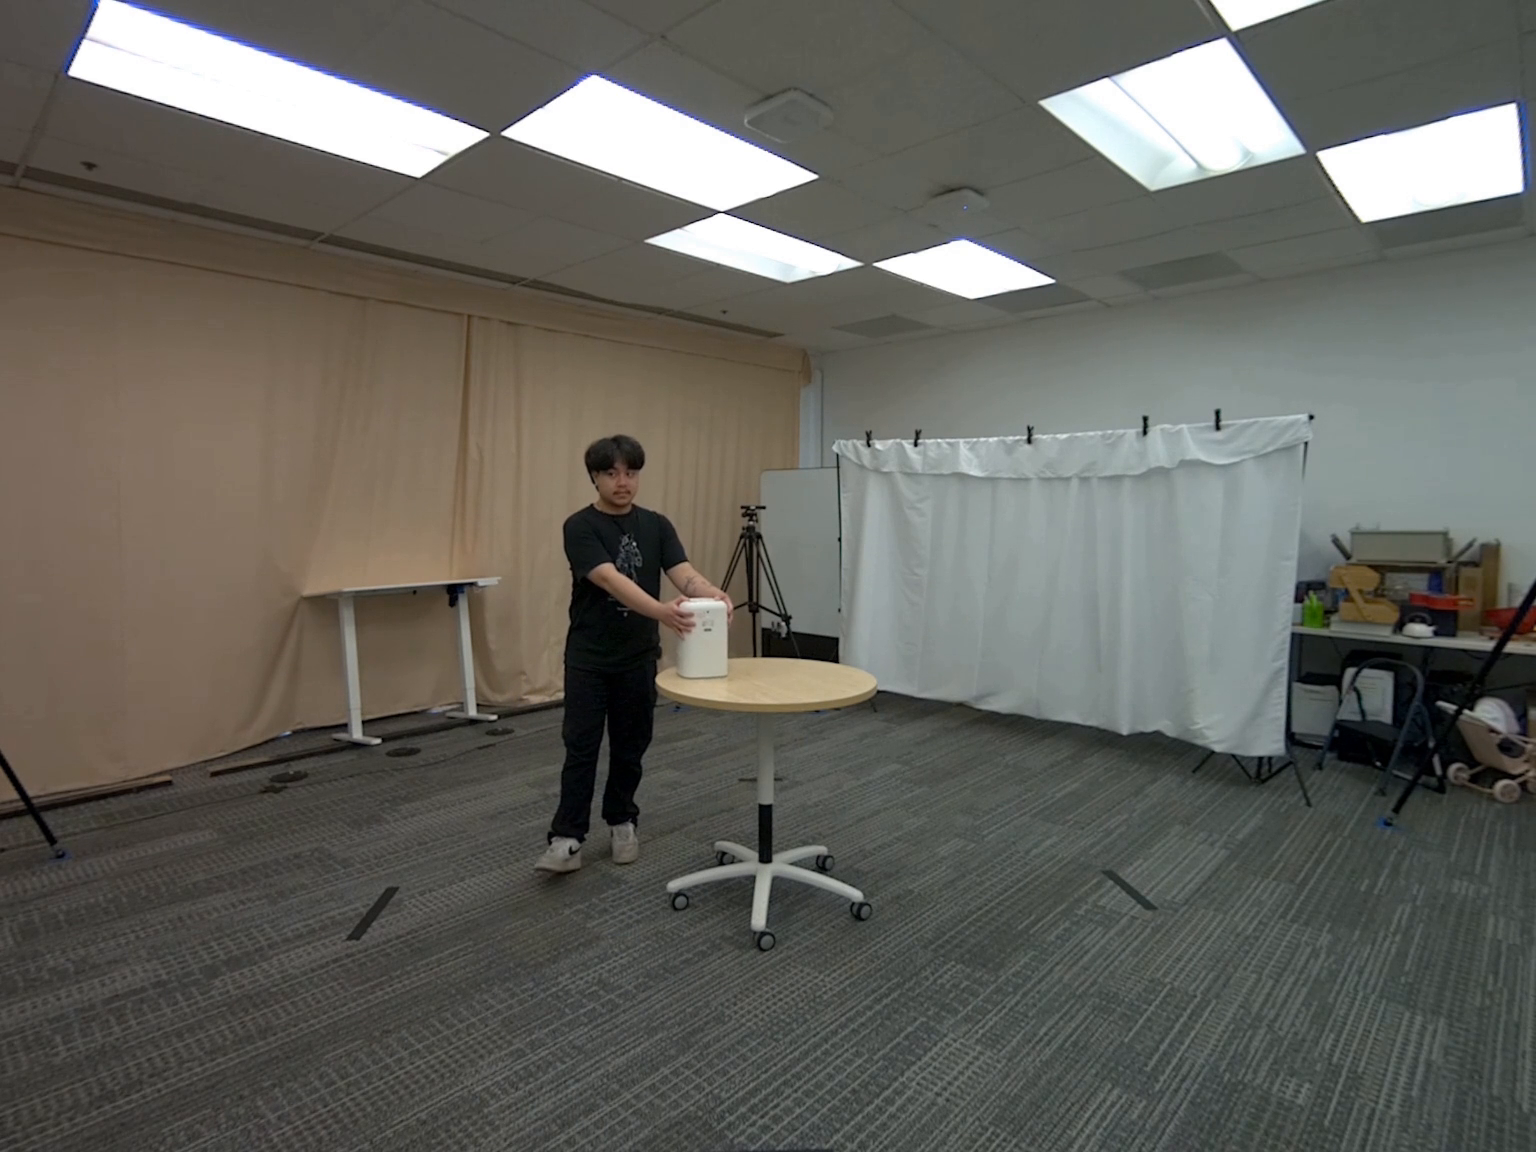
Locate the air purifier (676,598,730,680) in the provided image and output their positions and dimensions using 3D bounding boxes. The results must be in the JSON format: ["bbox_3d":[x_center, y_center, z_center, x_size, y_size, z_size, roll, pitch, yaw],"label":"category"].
[{"bbox_3d":[-0.234,0.220,2.992,0.168,0.265,0.174,-2,4,-15],"label":"air purifier"}]
